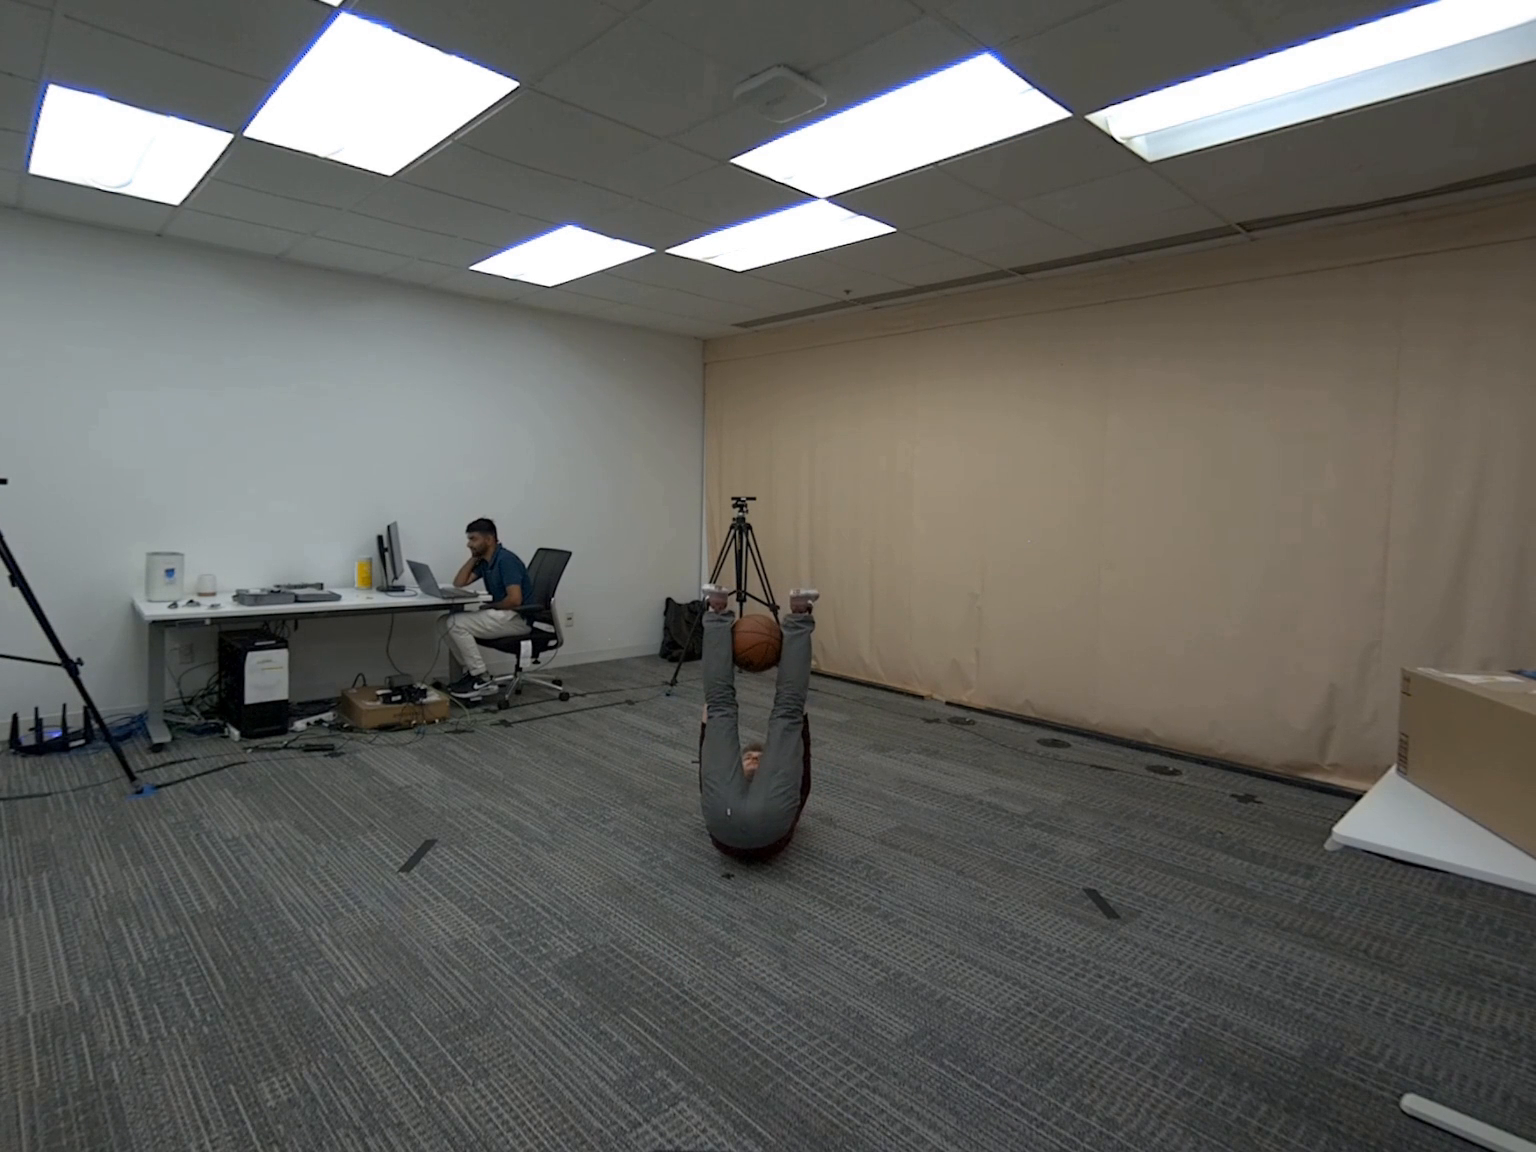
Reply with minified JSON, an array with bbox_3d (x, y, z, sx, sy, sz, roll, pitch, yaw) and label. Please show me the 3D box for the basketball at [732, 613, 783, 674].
[{"bbox_3d":[-0.065,0.273,3.451,0.236,0.235,0.237,1,4,-1],"label":"basketball"}]
